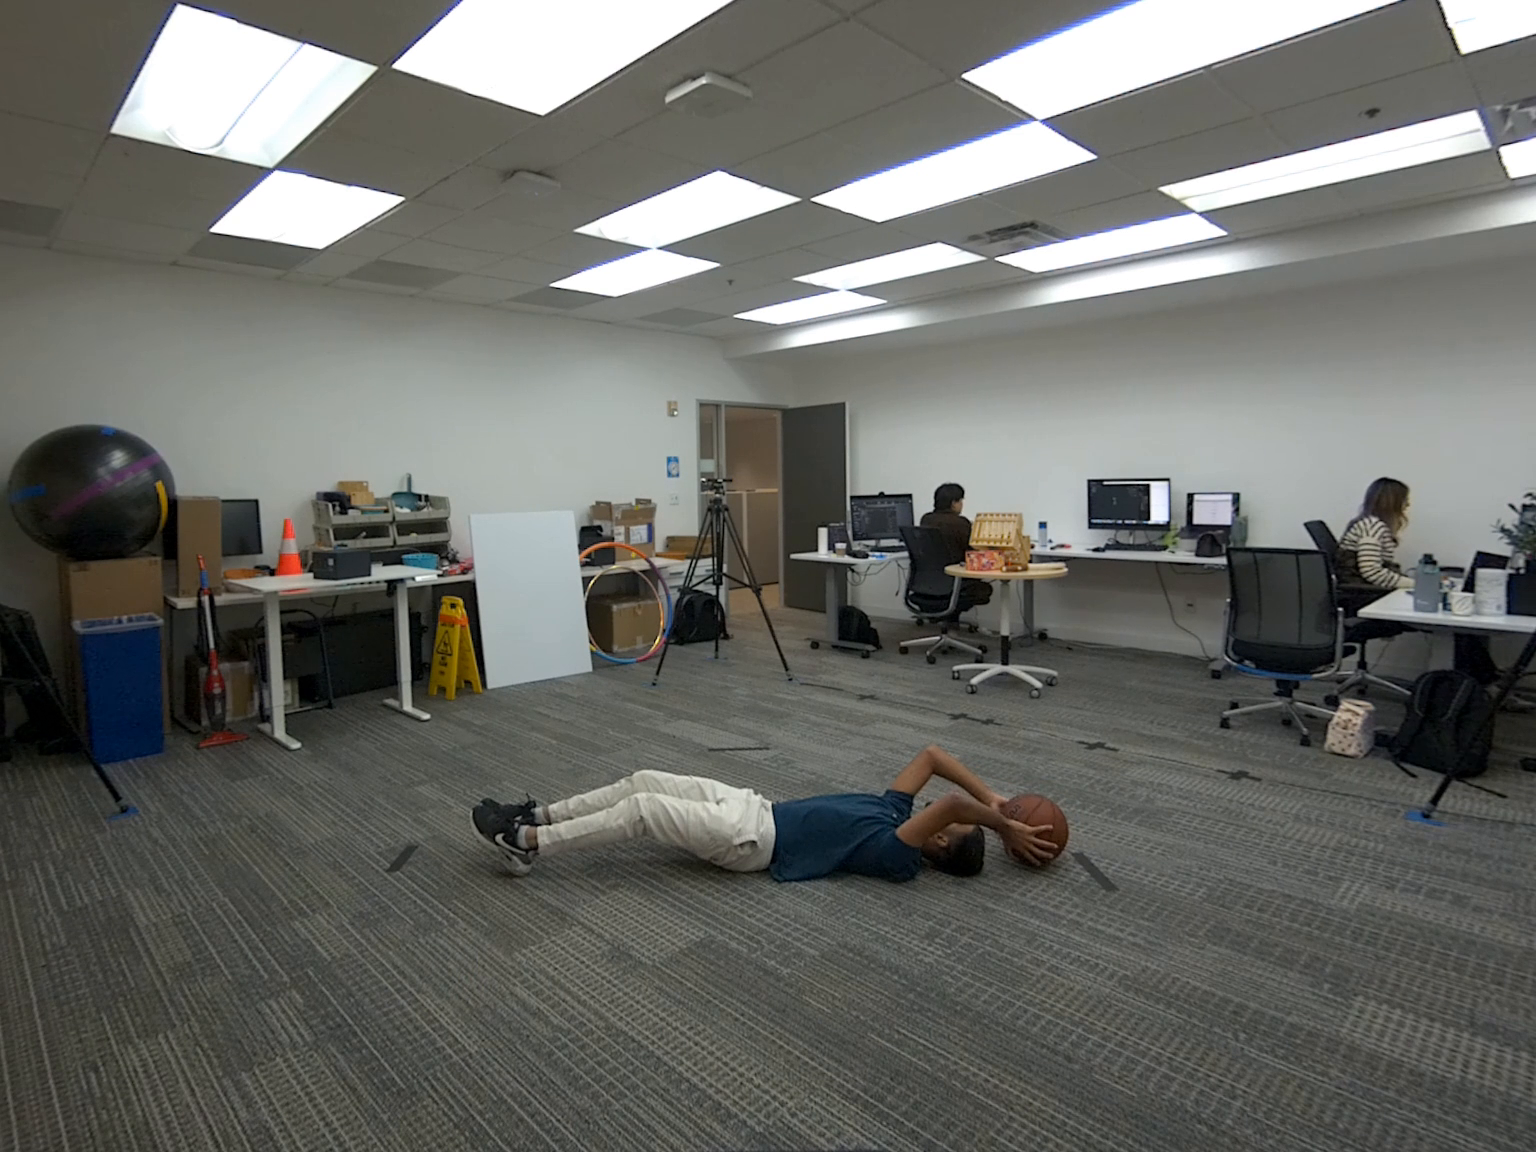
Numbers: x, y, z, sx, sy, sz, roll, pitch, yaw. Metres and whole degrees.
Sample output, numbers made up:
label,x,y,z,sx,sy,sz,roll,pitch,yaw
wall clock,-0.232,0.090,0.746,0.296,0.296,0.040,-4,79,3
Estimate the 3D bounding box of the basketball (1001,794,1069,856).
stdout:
label,x,y,z,sx,sy,sz,roll,pitch,yaw
basketball,0.970,0.913,3.087,0.236,0.235,0.237,-1,5,-2
